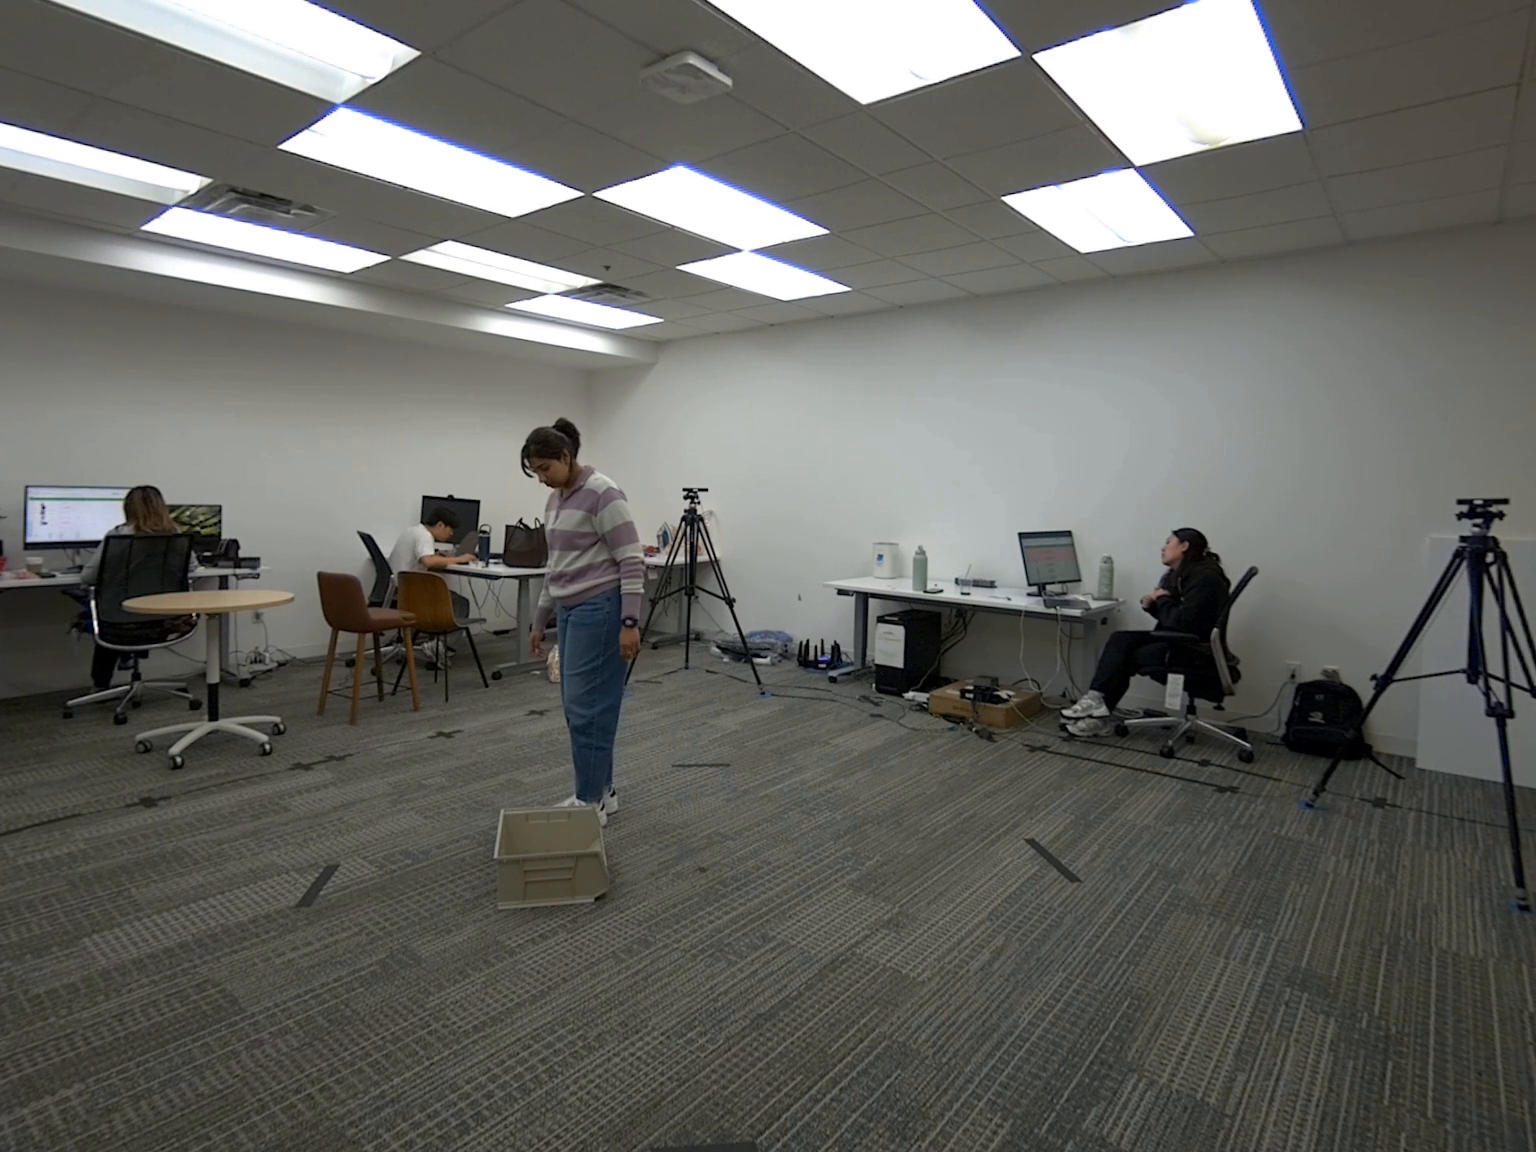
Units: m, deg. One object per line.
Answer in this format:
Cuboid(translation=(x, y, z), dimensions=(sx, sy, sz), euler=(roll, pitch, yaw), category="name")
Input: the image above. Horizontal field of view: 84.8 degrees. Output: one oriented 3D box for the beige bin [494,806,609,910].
Cuboid(translation=(-0.774, 0.981, 3.017), dimensions=(0.372, 0.188, 0.430), euler=(-1, 6, -14), category="beige bin")
